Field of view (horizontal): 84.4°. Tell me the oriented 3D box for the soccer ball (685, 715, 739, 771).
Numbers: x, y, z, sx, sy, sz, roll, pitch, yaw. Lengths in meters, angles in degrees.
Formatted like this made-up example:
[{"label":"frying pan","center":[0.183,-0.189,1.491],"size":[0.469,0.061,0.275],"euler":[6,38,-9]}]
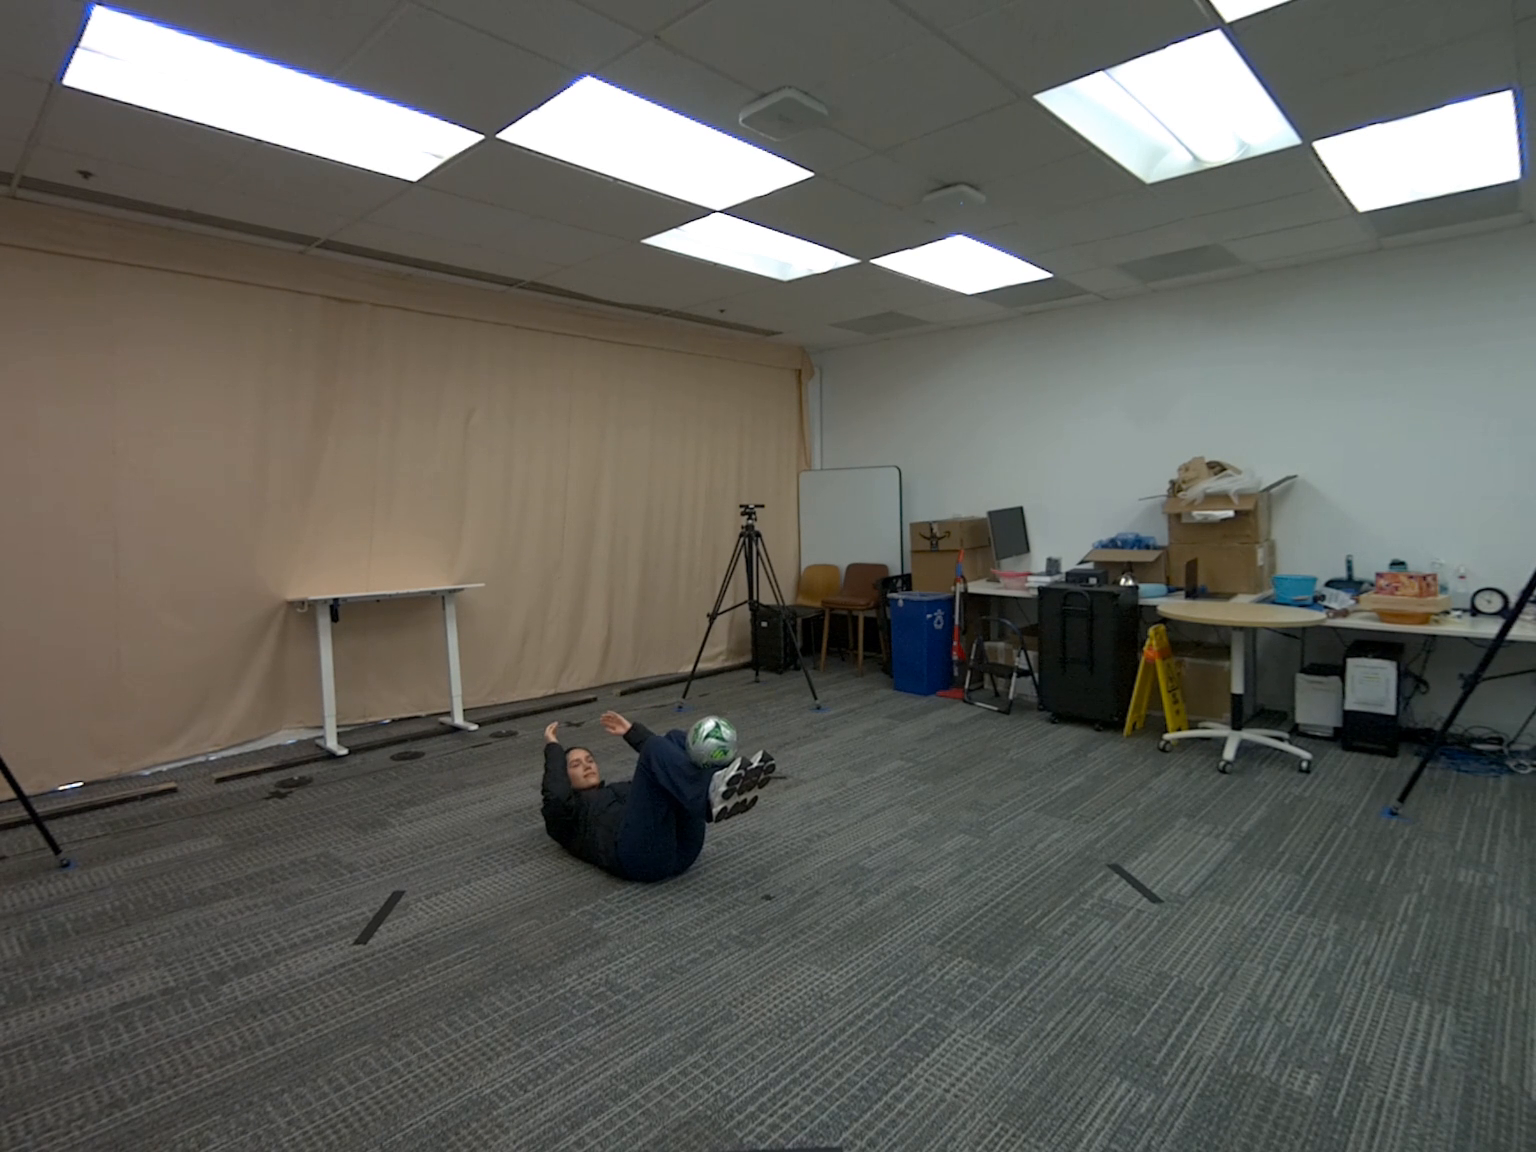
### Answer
[{"label":"soccer ball","center":[-0.188,0.581,2.922],"size":[0.187,0.187,0.188],"euler":[2,5,-2]}]
